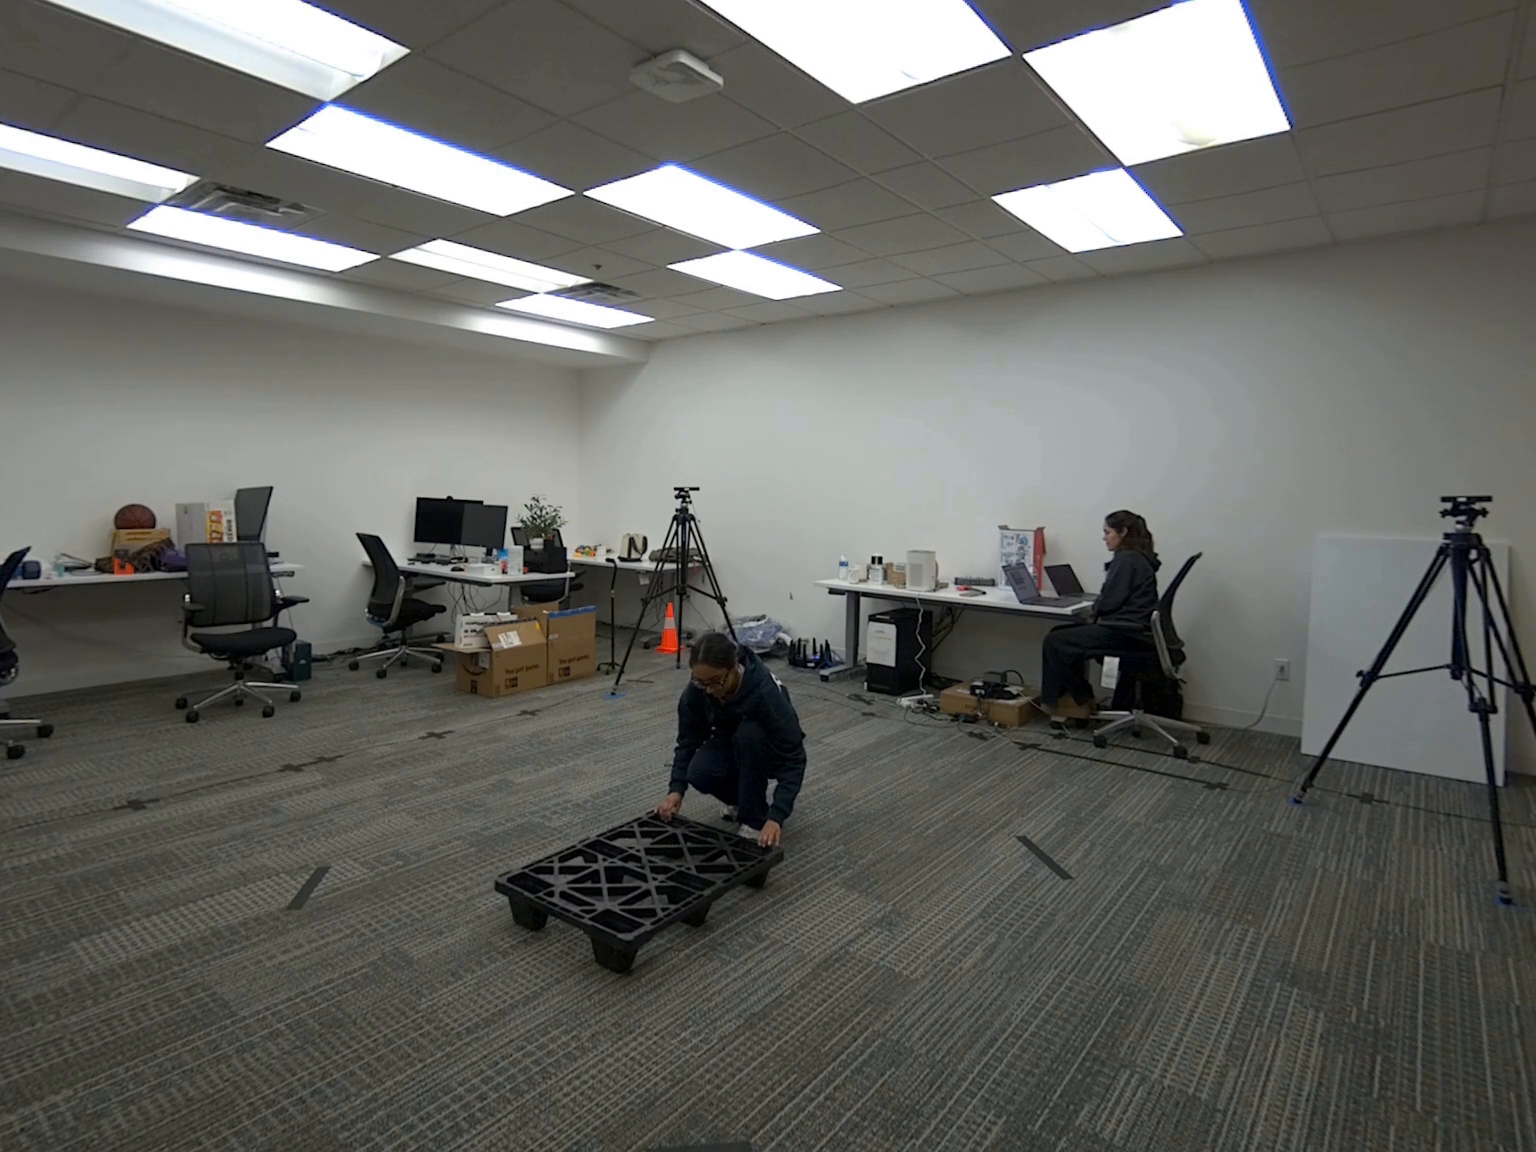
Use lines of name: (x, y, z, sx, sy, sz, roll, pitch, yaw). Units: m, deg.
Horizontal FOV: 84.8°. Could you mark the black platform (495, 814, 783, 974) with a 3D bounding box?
black platform: (-0.414, 1.023, 2.840, 0.625, 0.143, 0.783, 6, 7, 36)
